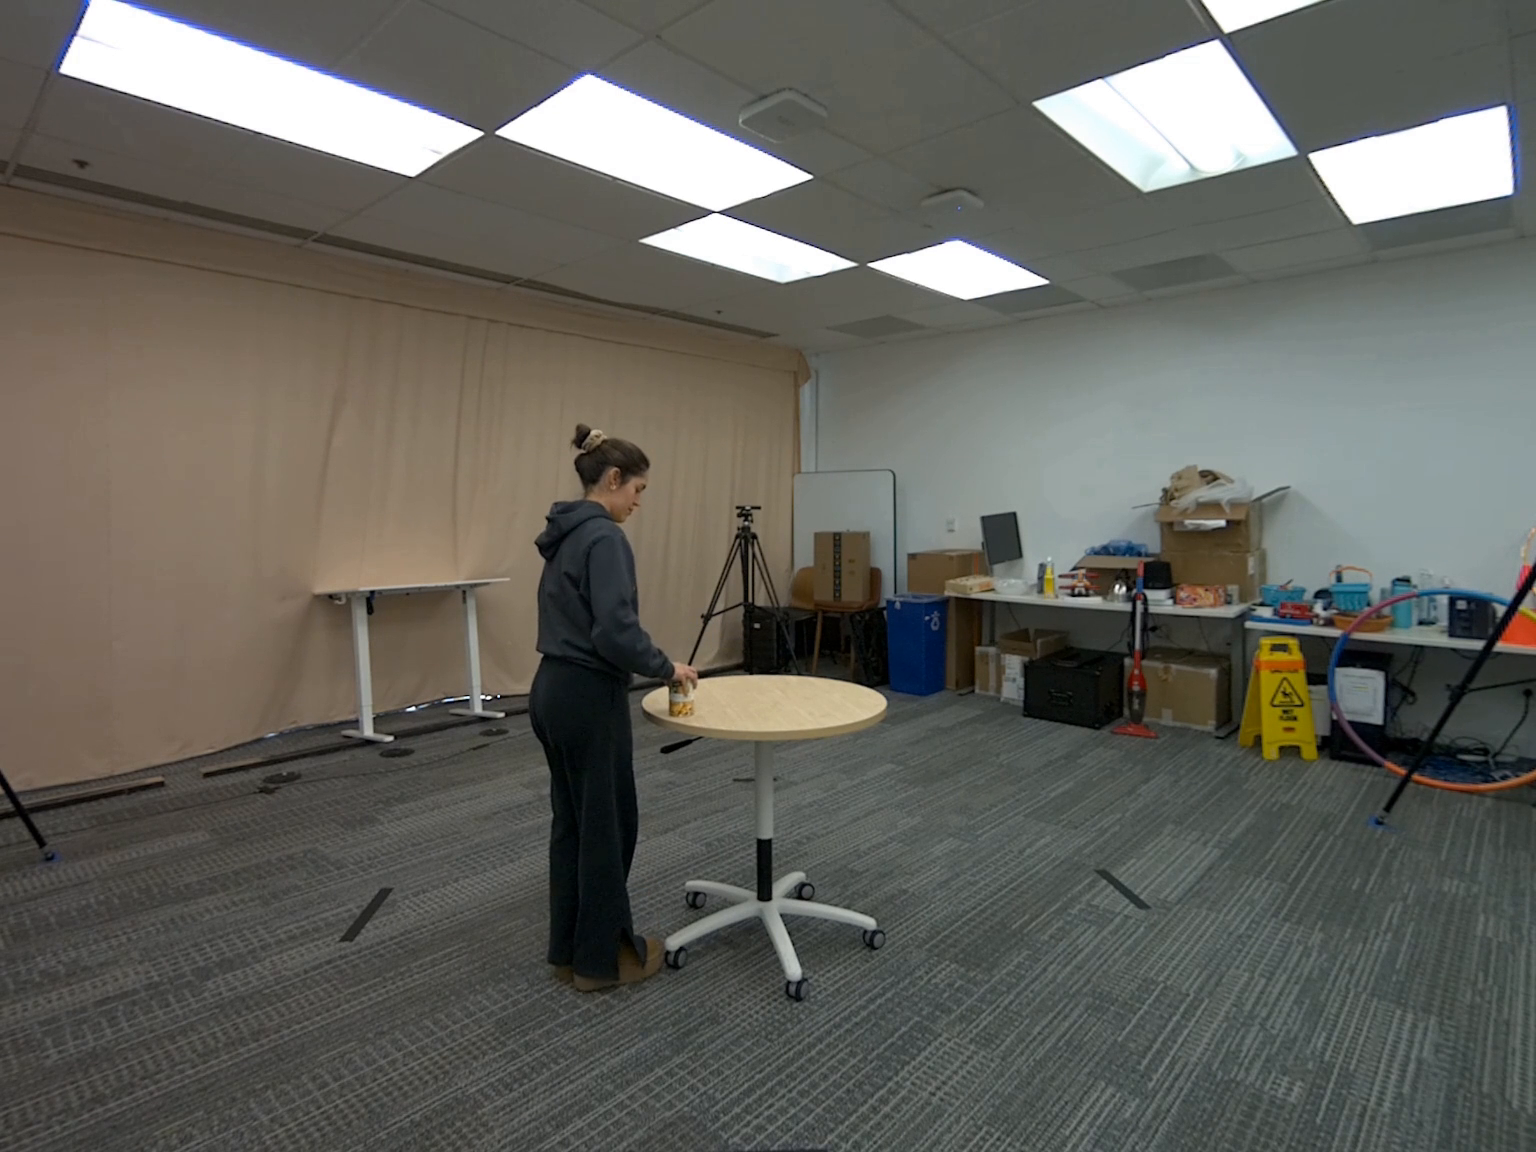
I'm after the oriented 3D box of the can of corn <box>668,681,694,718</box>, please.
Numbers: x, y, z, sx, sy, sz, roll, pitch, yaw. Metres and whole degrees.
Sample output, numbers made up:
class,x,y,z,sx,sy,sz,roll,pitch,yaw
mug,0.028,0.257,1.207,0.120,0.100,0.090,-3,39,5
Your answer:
class,x,y,z,sx,sy,sz,roll,pitch,yaw
can of corn,-0.241,0.356,2.458,0.074,0.110,0.074,-4,6,-1
